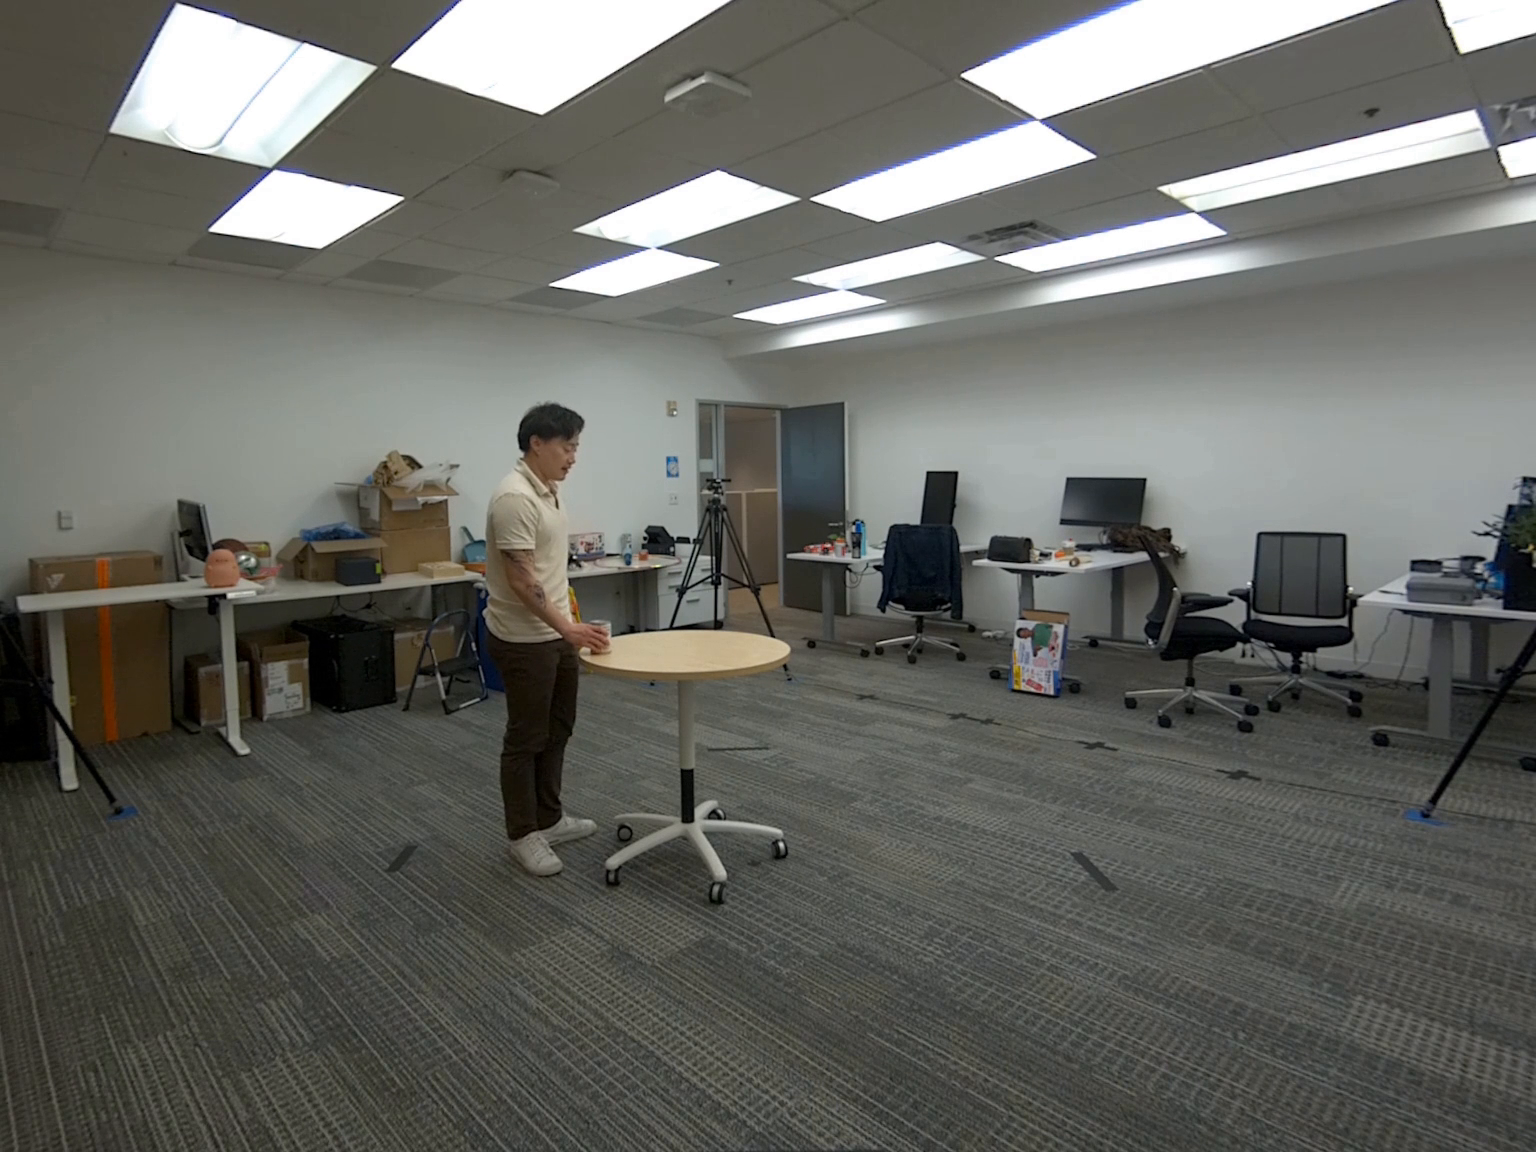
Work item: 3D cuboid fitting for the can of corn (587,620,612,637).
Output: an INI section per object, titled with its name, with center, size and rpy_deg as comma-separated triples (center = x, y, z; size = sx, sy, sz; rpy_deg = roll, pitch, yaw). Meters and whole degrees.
[can of corn]
center = -0.596, 0.215, 3.048
size = 0.074, 0.111, 0.074
rpy_deg = 1, 4, -2
